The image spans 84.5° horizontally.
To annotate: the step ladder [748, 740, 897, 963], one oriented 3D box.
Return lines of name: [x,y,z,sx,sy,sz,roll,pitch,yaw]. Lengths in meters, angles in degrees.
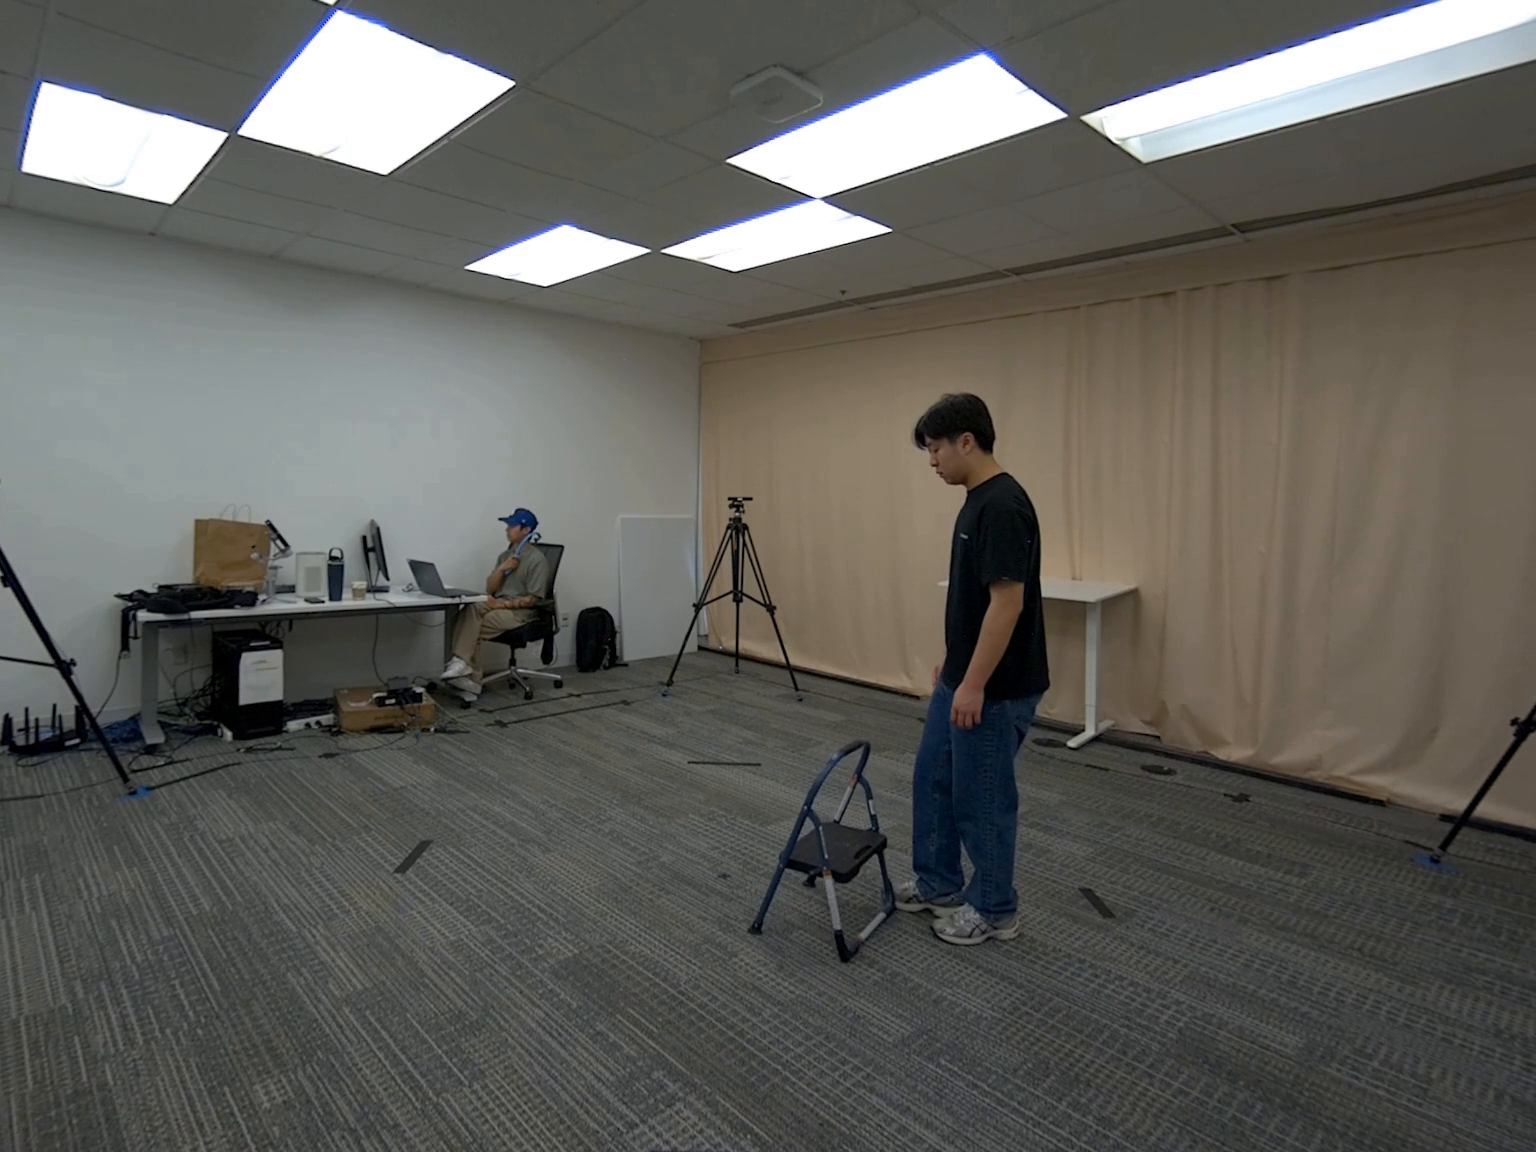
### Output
step ladder: [0.197,0.838,2.773,0.357,0.604,0.422,4,5,30]
